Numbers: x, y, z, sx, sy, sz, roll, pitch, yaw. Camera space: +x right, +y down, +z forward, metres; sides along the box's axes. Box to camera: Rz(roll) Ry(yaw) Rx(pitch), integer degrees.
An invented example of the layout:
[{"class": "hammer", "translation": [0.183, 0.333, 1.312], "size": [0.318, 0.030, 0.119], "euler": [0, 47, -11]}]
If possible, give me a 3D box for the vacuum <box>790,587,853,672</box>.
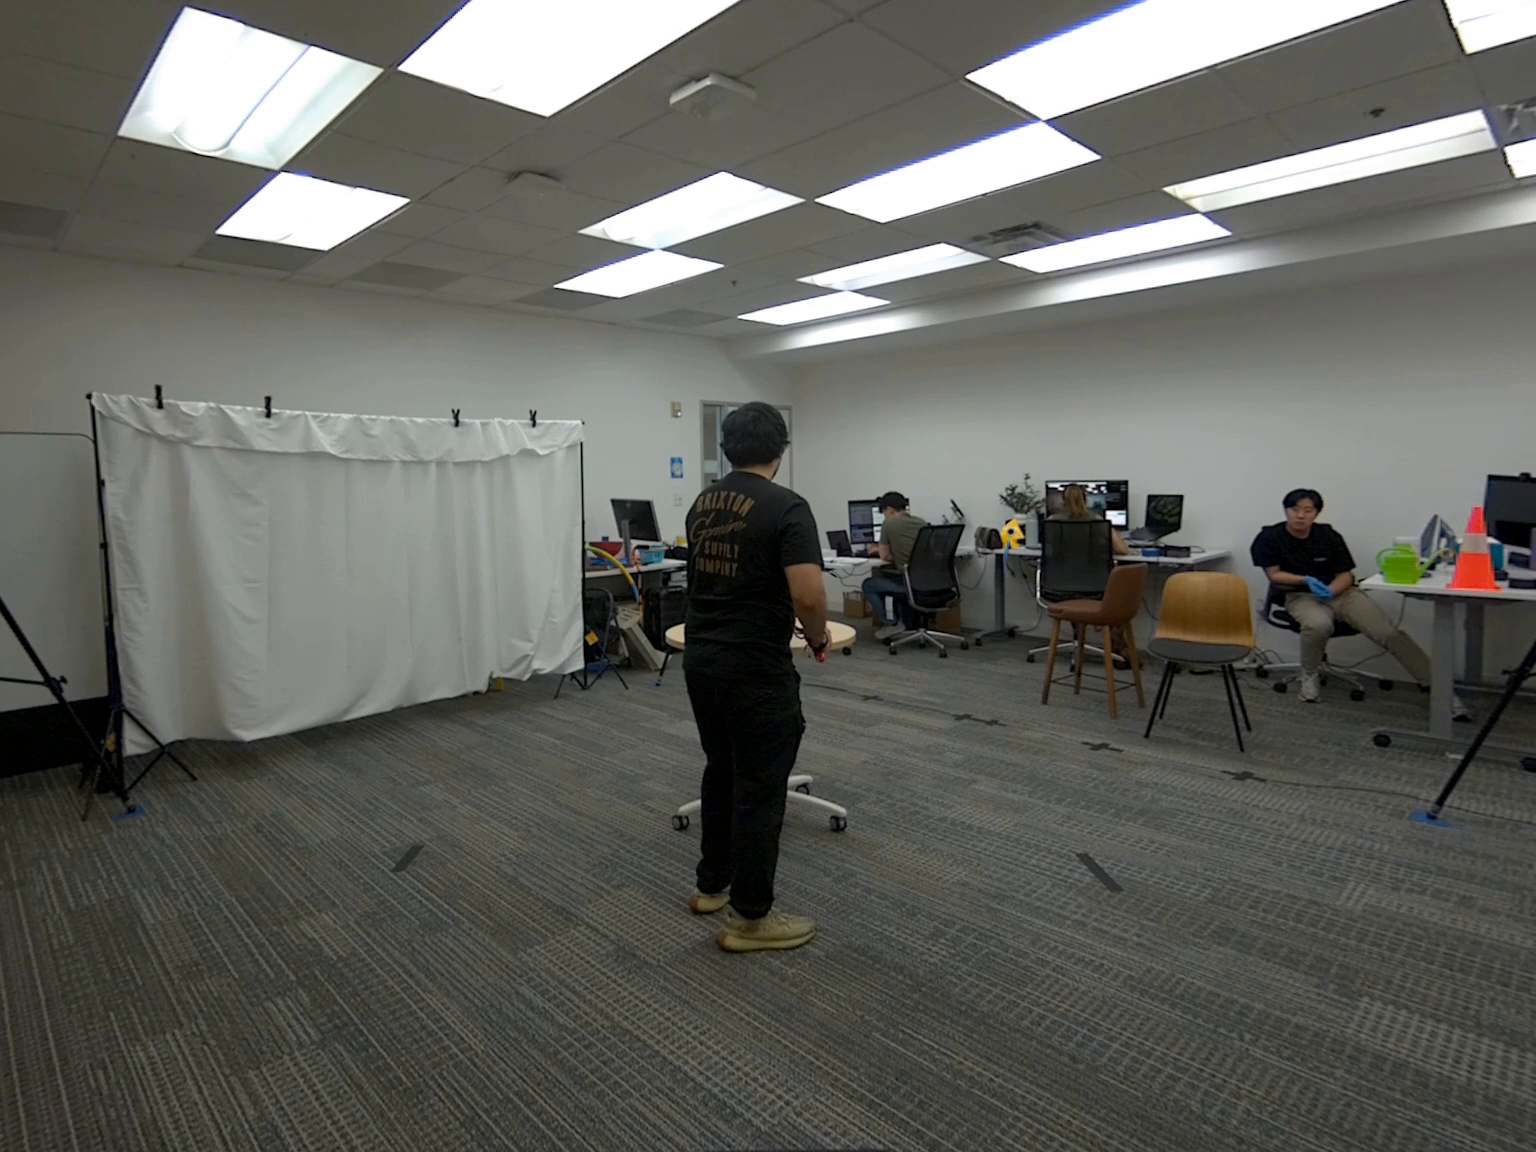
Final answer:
[{"class": "vacuum", "translation": [0.060, 0.086, 3.107], "size": [0.251, 0.142, 1.067], "euler": [-6, 15, -6]}]
